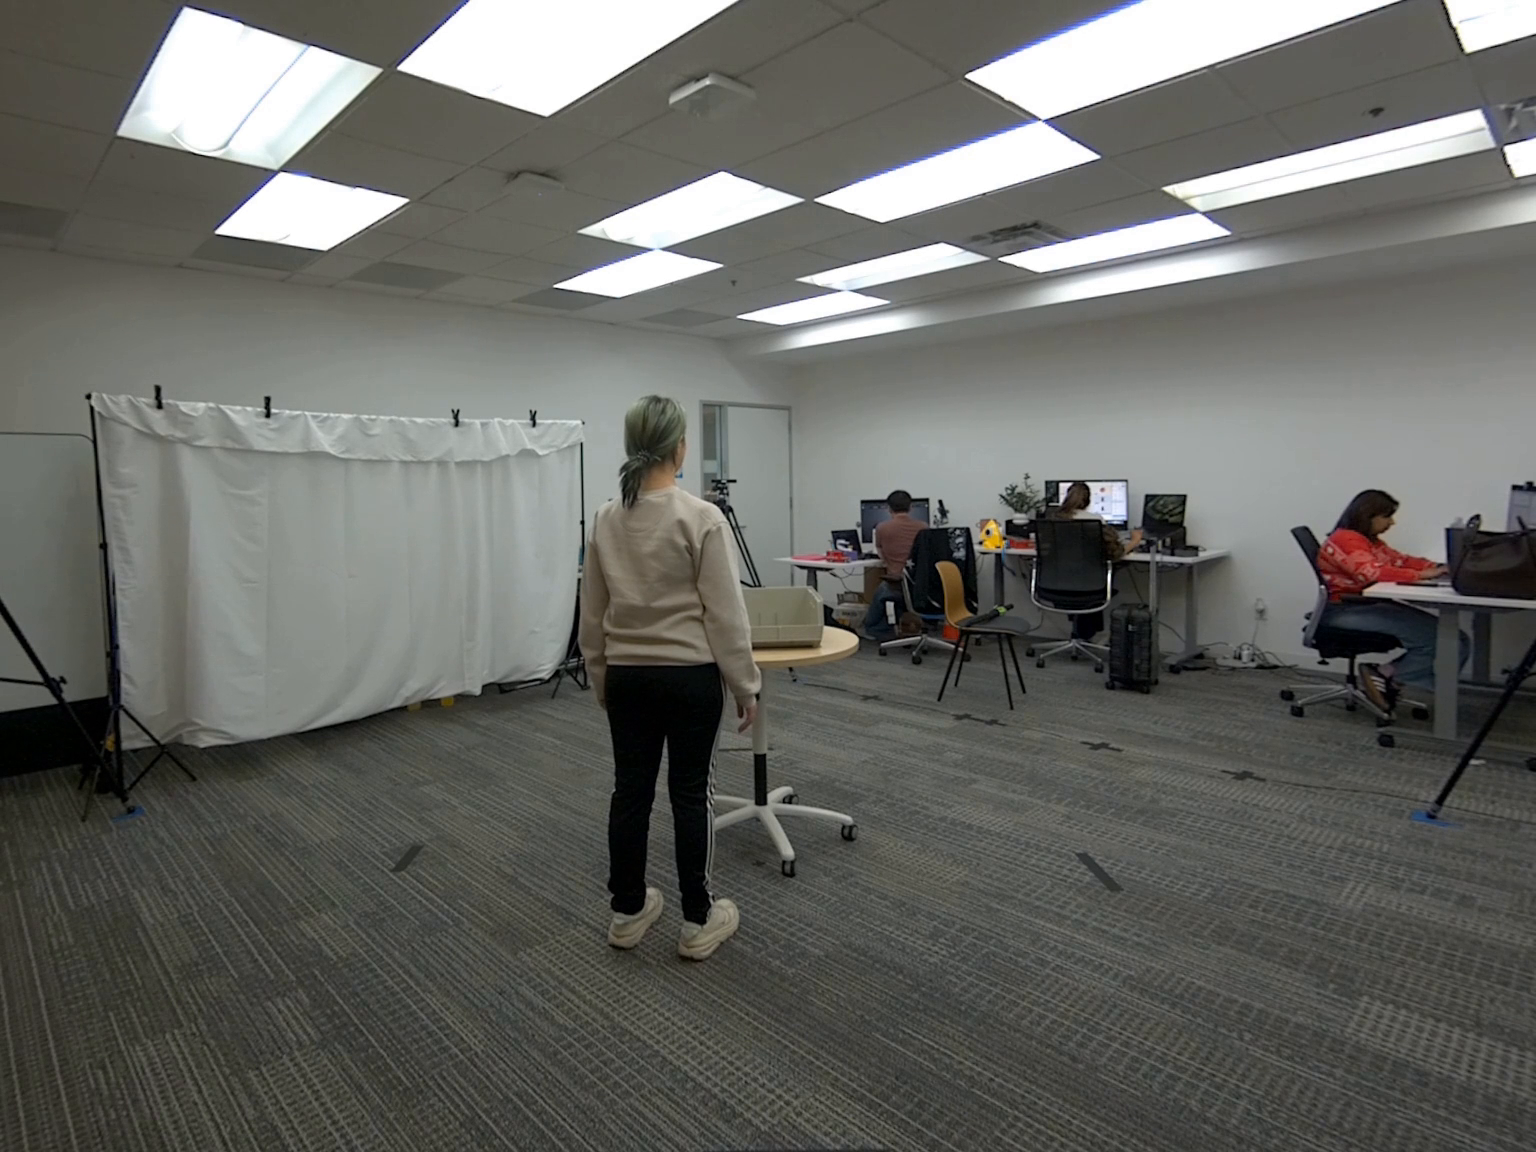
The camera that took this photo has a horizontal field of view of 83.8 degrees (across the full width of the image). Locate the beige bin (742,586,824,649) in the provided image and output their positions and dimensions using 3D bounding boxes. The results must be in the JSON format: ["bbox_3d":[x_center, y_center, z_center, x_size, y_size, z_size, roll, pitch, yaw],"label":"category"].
[{"bbox_3d":[-0.021,0.170,3.212,0.422,0.188,0.380,-2,8,-2],"label":"beige bin"}]
